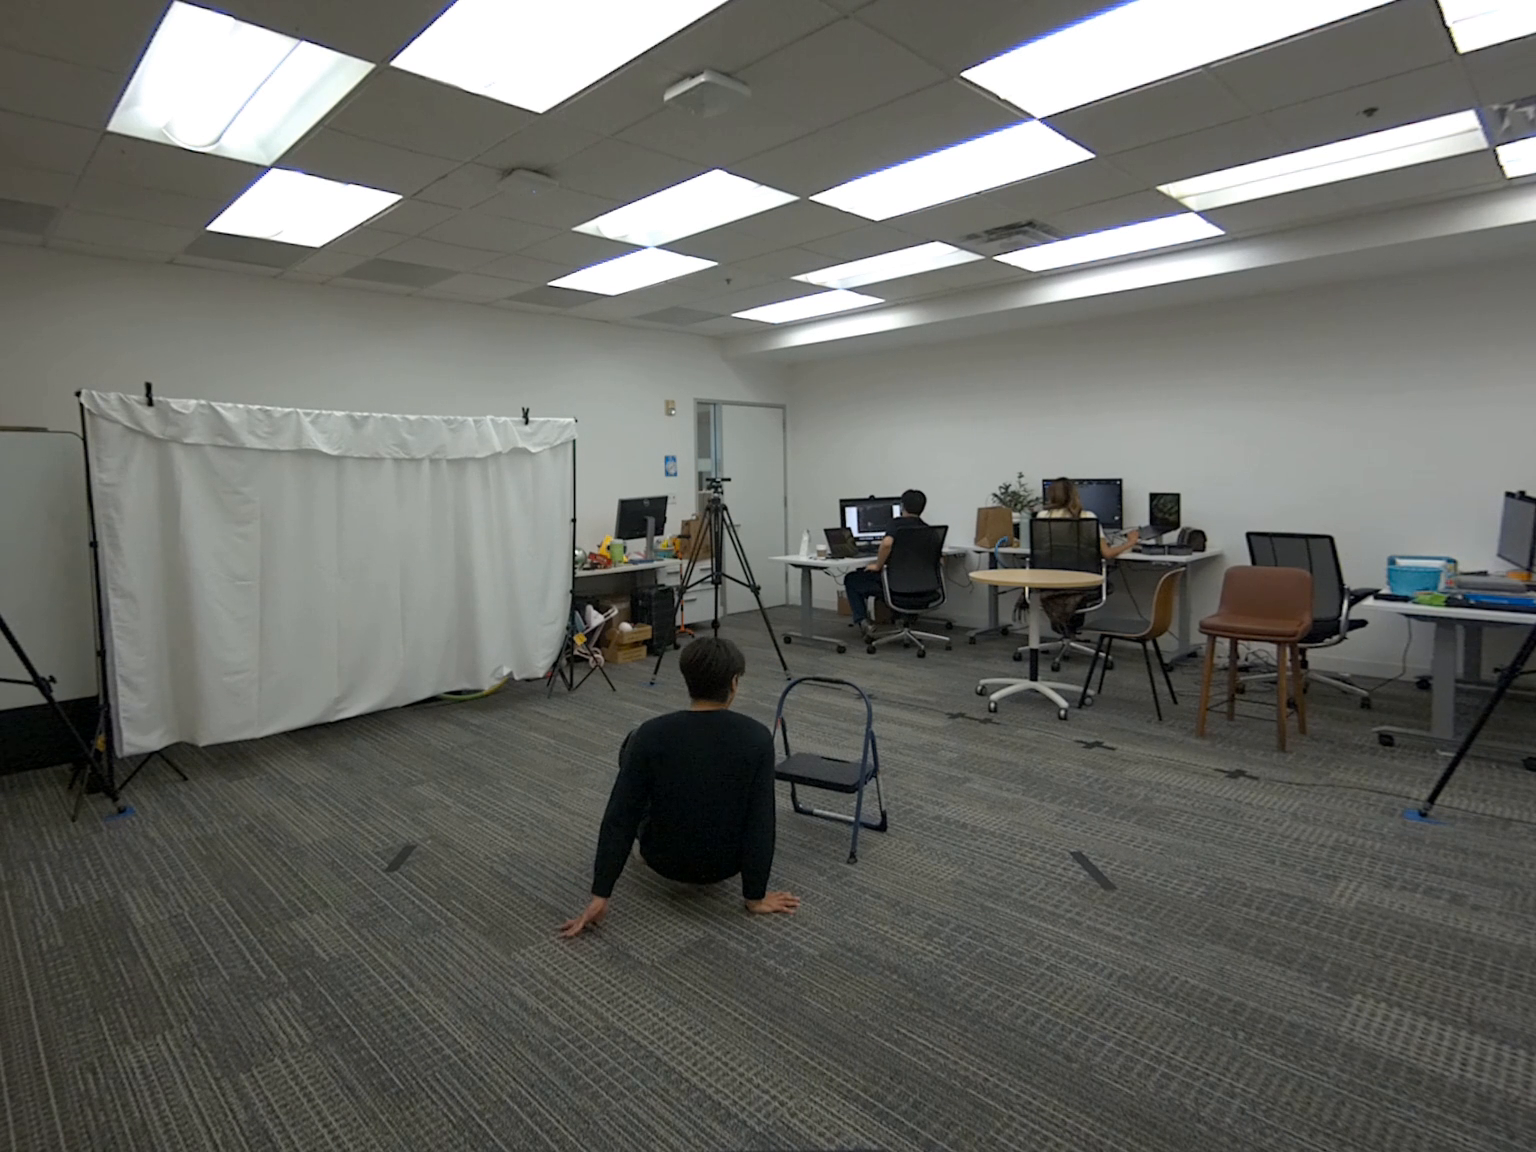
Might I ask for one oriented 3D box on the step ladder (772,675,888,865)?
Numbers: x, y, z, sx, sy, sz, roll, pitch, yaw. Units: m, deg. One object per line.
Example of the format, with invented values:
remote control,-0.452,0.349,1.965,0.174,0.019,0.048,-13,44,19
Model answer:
step ladder,0.210,0.709,3.321,0.442,0.603,0.341,2,5,32
